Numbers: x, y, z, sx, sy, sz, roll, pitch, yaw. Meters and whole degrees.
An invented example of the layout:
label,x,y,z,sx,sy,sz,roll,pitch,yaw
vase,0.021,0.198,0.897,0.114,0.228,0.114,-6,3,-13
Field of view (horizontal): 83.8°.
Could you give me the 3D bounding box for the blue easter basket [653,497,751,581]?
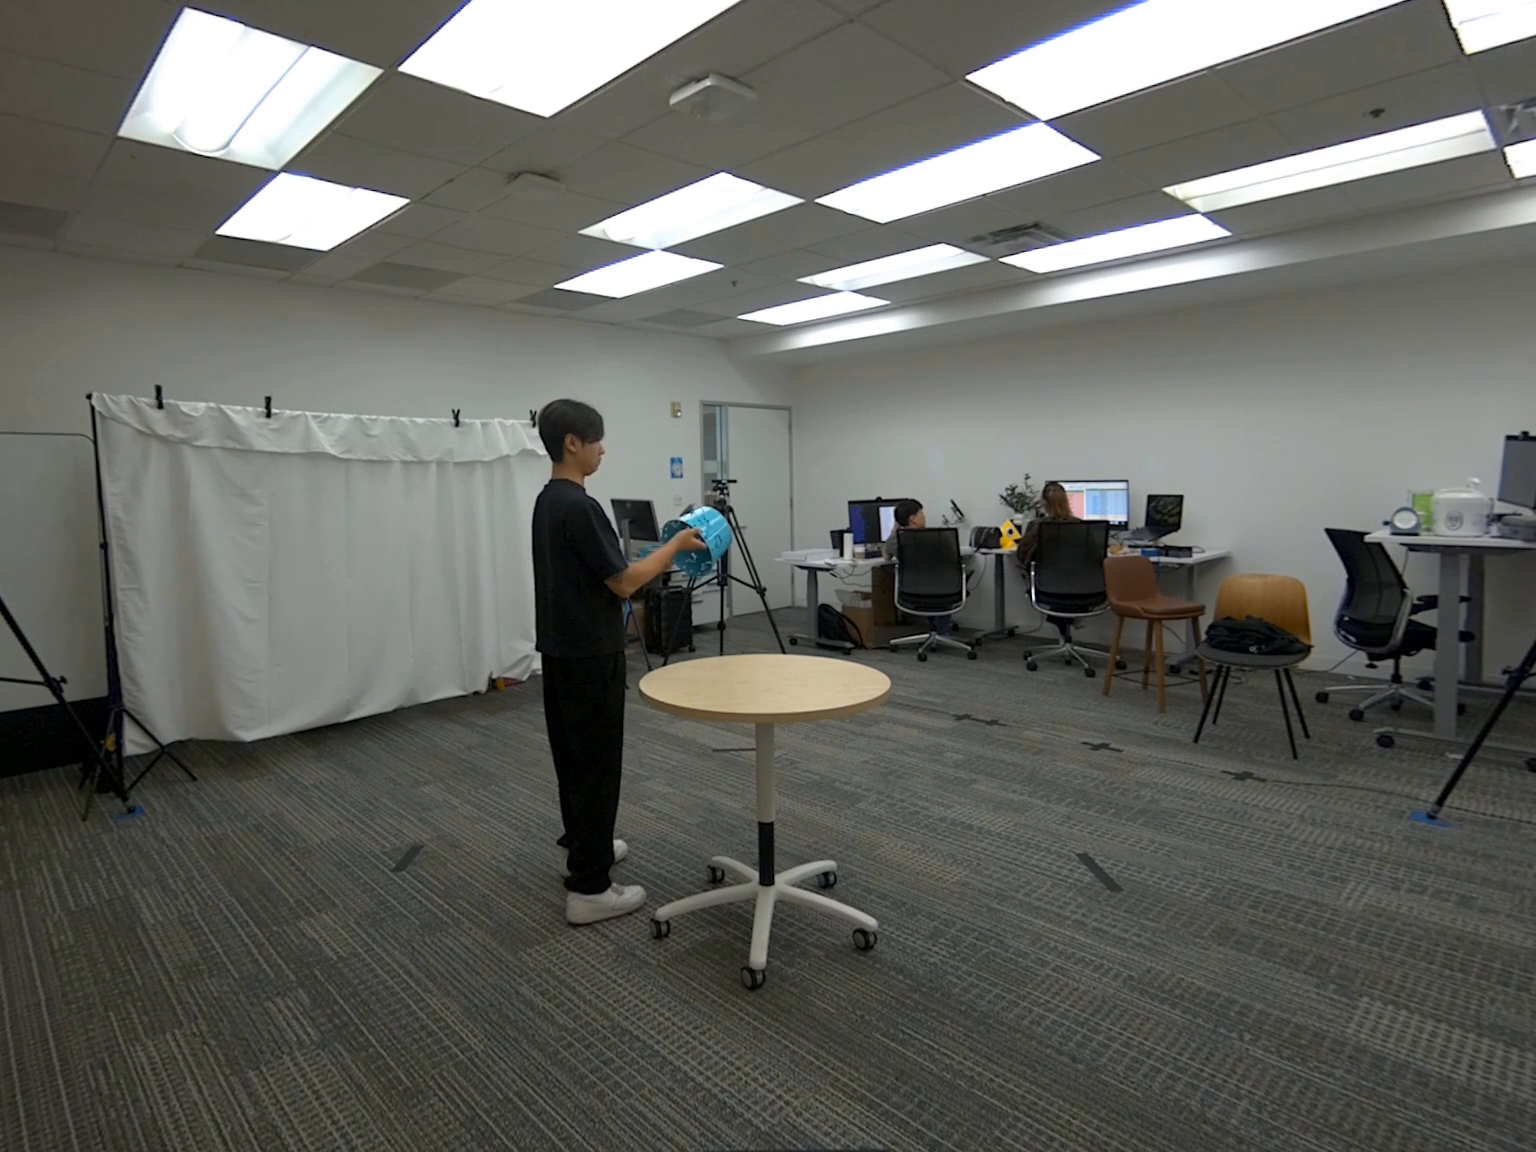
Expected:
label,x,y,z,sx,sy,sz,roll,pitch,yaw
blue easter basket,-0.237,-0.137,3.066,0.251,0.238,0.155,3,31,39
